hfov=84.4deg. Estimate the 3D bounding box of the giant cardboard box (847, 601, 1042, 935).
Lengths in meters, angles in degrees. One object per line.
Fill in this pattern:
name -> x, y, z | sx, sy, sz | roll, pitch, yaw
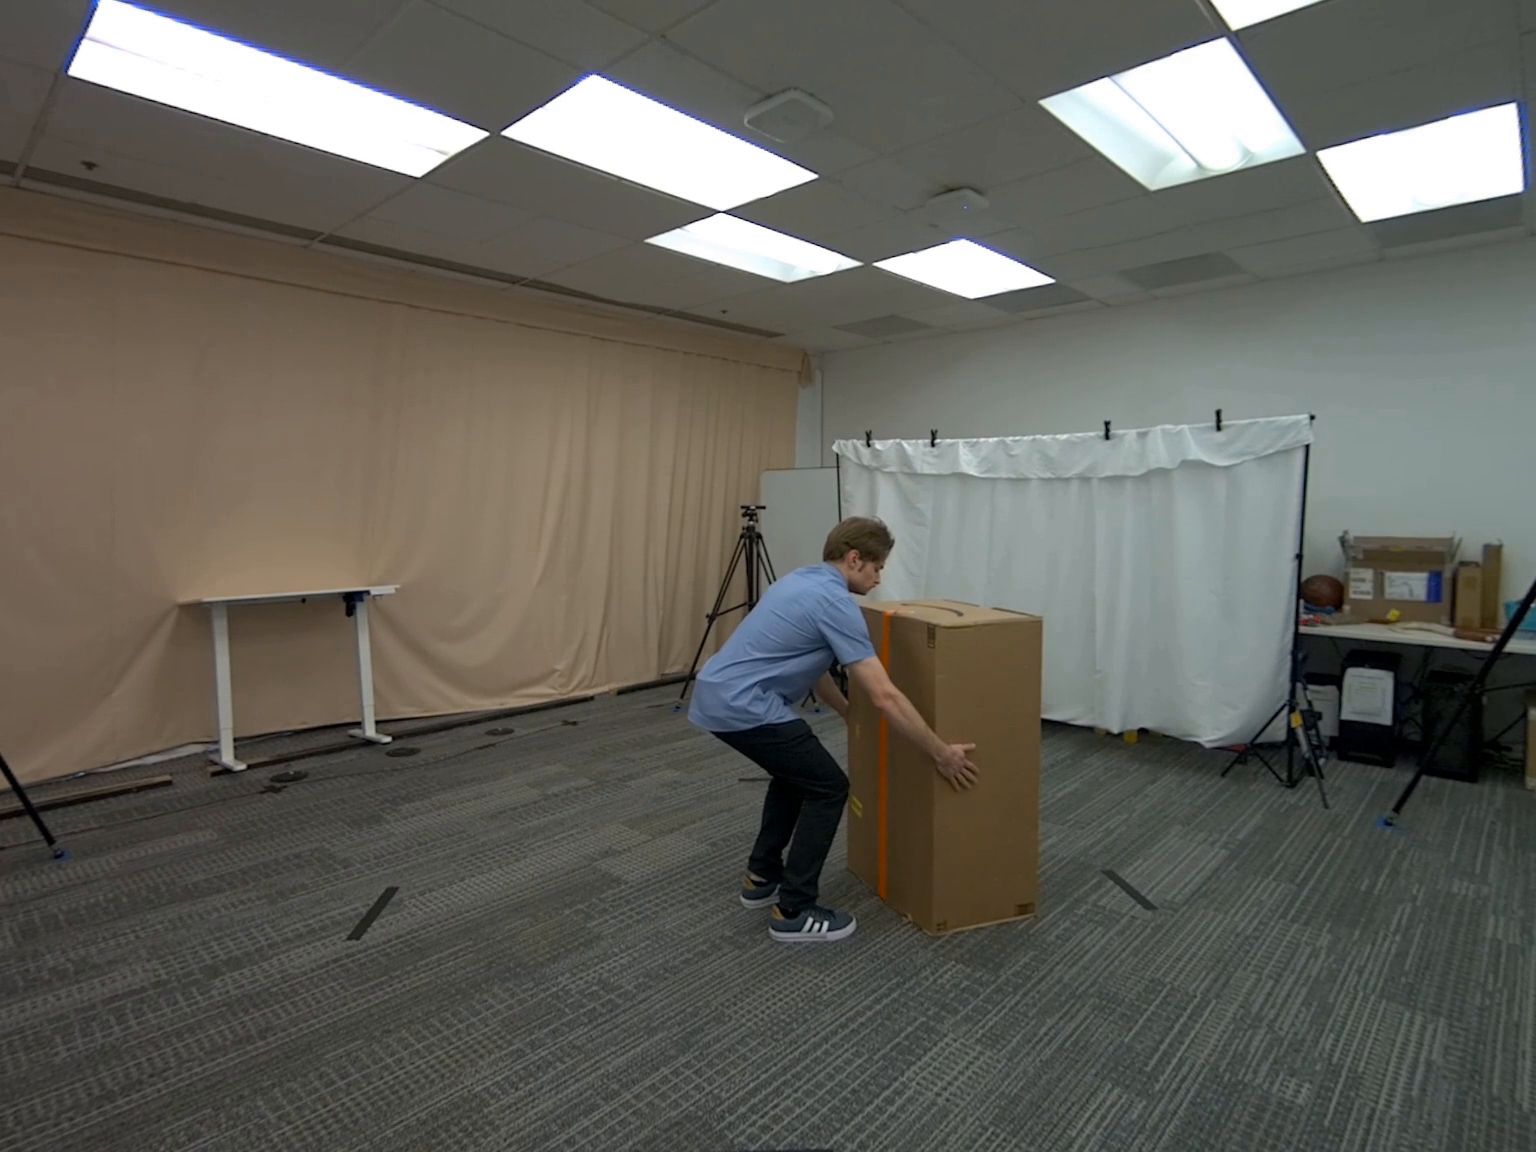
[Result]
giant cardboard box -> 0.612, 0.631, 3.016 | 0.417, 1.024, 0.591 | -1, 4, -22
